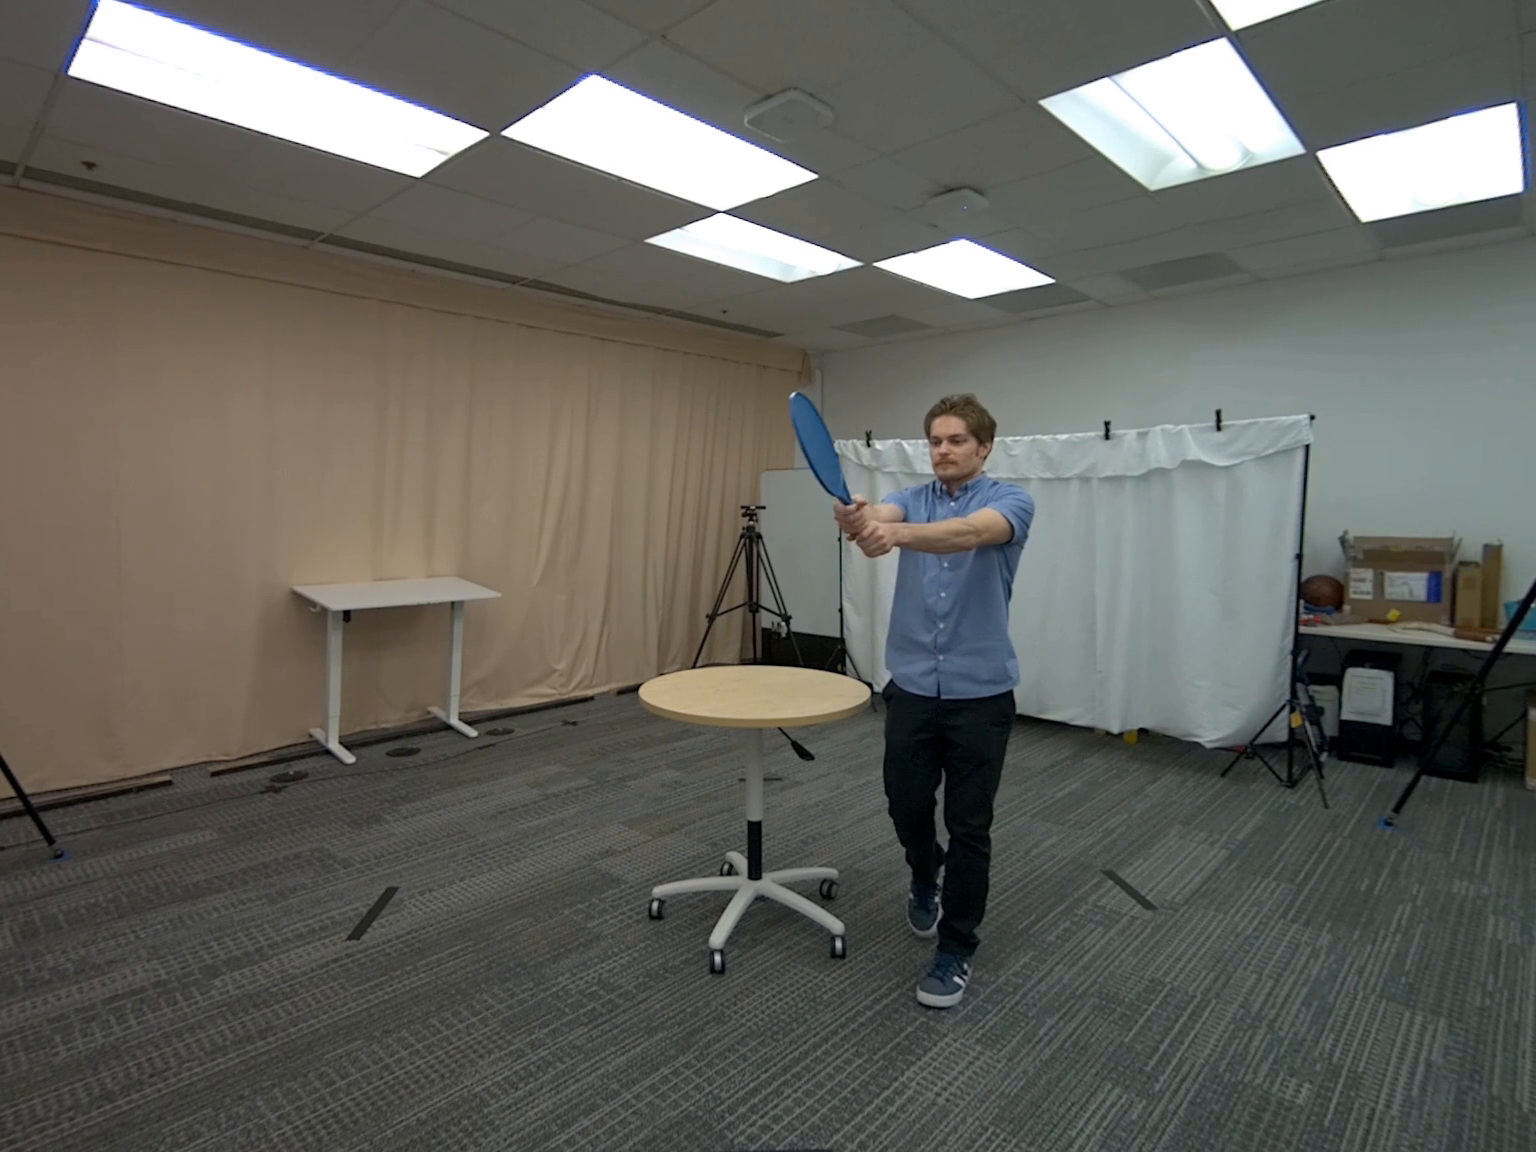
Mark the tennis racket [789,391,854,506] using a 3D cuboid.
[{"bbox_3d":[0.161,-0.234,1.965,0.032,0.421,0.215,-16,31,24],"label":"tennis racket"}]
